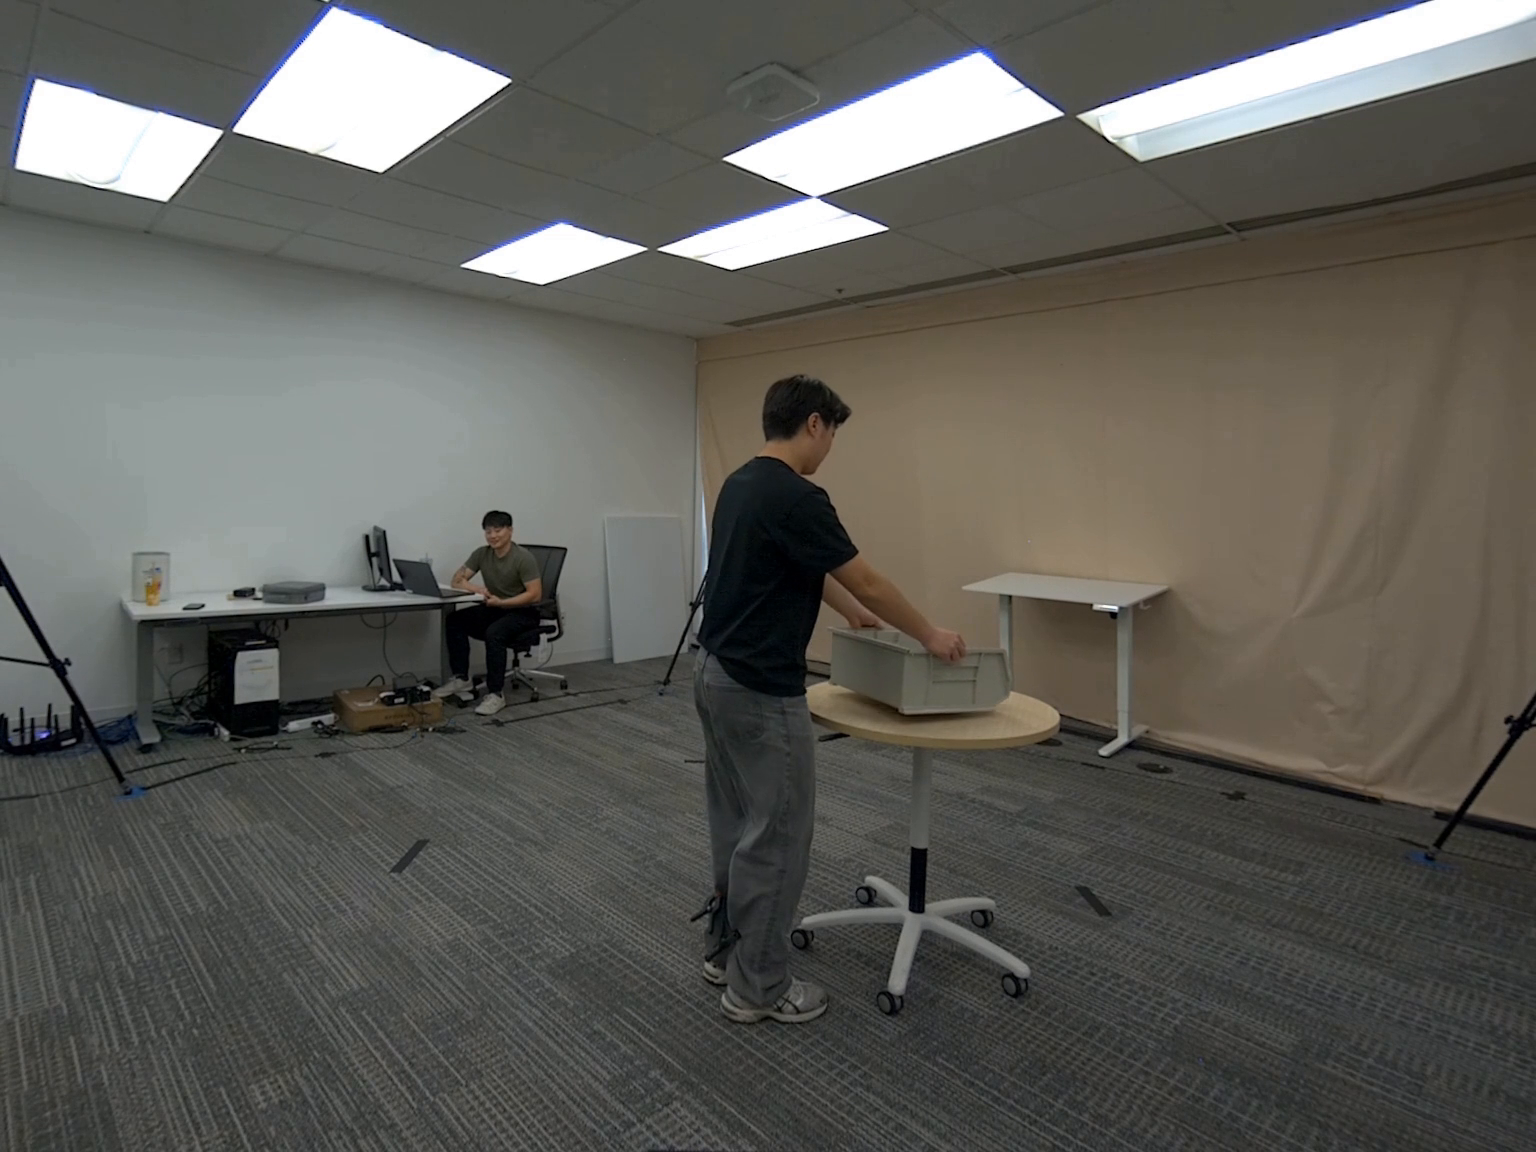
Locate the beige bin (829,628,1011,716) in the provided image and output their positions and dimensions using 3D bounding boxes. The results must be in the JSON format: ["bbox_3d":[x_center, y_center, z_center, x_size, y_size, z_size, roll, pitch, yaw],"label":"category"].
[{"bbox_3d":[0.432,0.277,2.529,0.370,0.188,0.431,1,5,-26],"label":"beige bin"}]
